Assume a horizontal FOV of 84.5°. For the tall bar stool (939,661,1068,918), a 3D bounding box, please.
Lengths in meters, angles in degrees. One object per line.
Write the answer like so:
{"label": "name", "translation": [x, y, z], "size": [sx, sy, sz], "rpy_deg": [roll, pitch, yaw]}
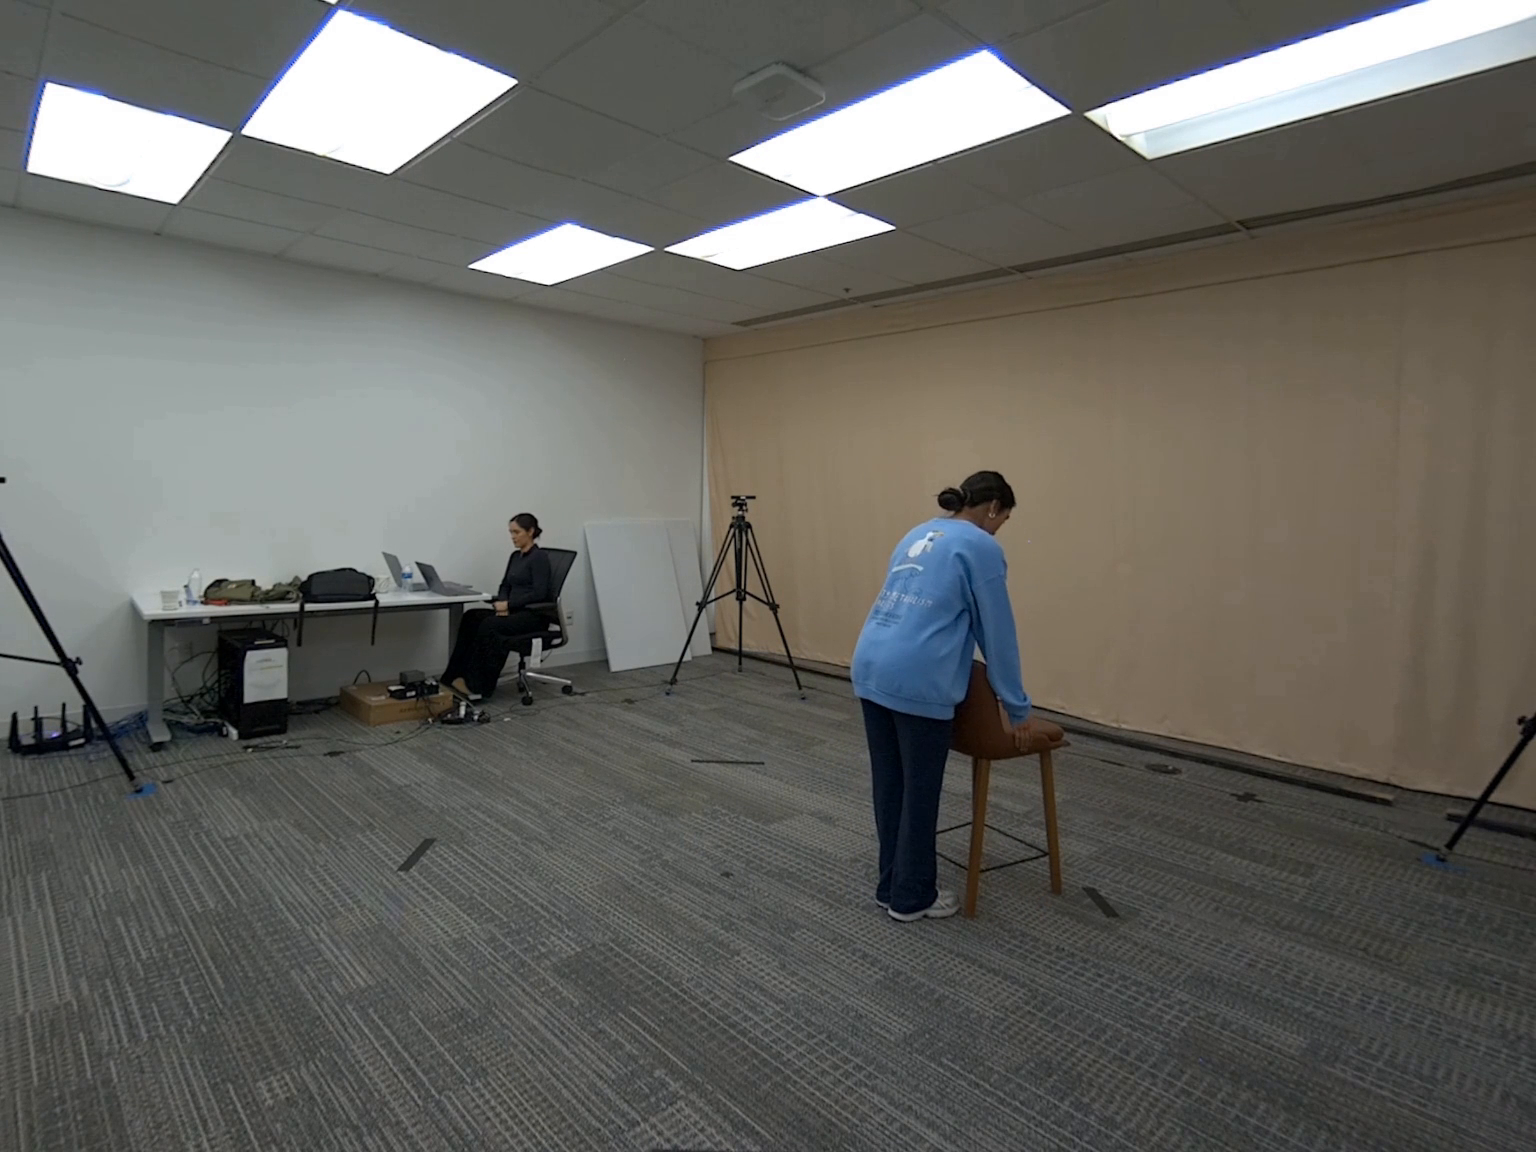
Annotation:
{"label": "tall bar stool", "translation": [0.766, 0.689, 3.058], "size": [0.458, 0.887, 0.467], "rpy_deg": [-3, 5, -31]}
